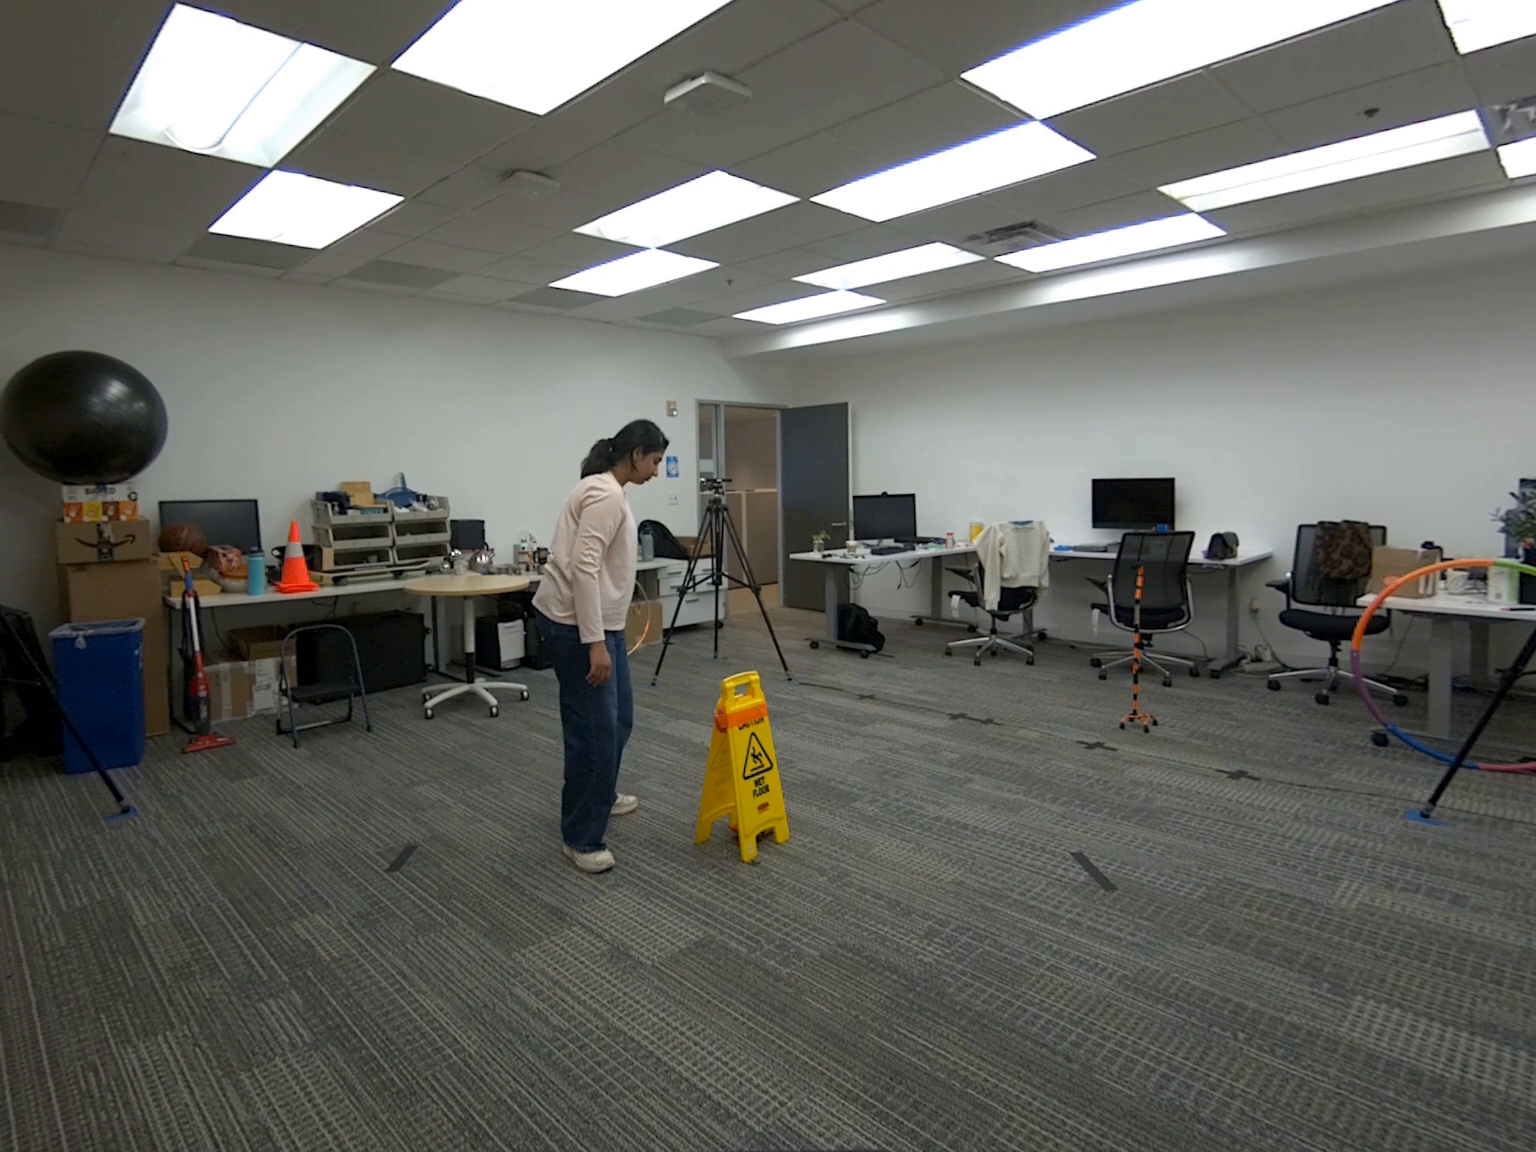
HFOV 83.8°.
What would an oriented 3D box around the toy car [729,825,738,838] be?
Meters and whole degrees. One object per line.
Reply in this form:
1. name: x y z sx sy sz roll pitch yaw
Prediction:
1. toy car: -0.035 0.981 3.357 0.246 0.083 0.134 7 0 -44
